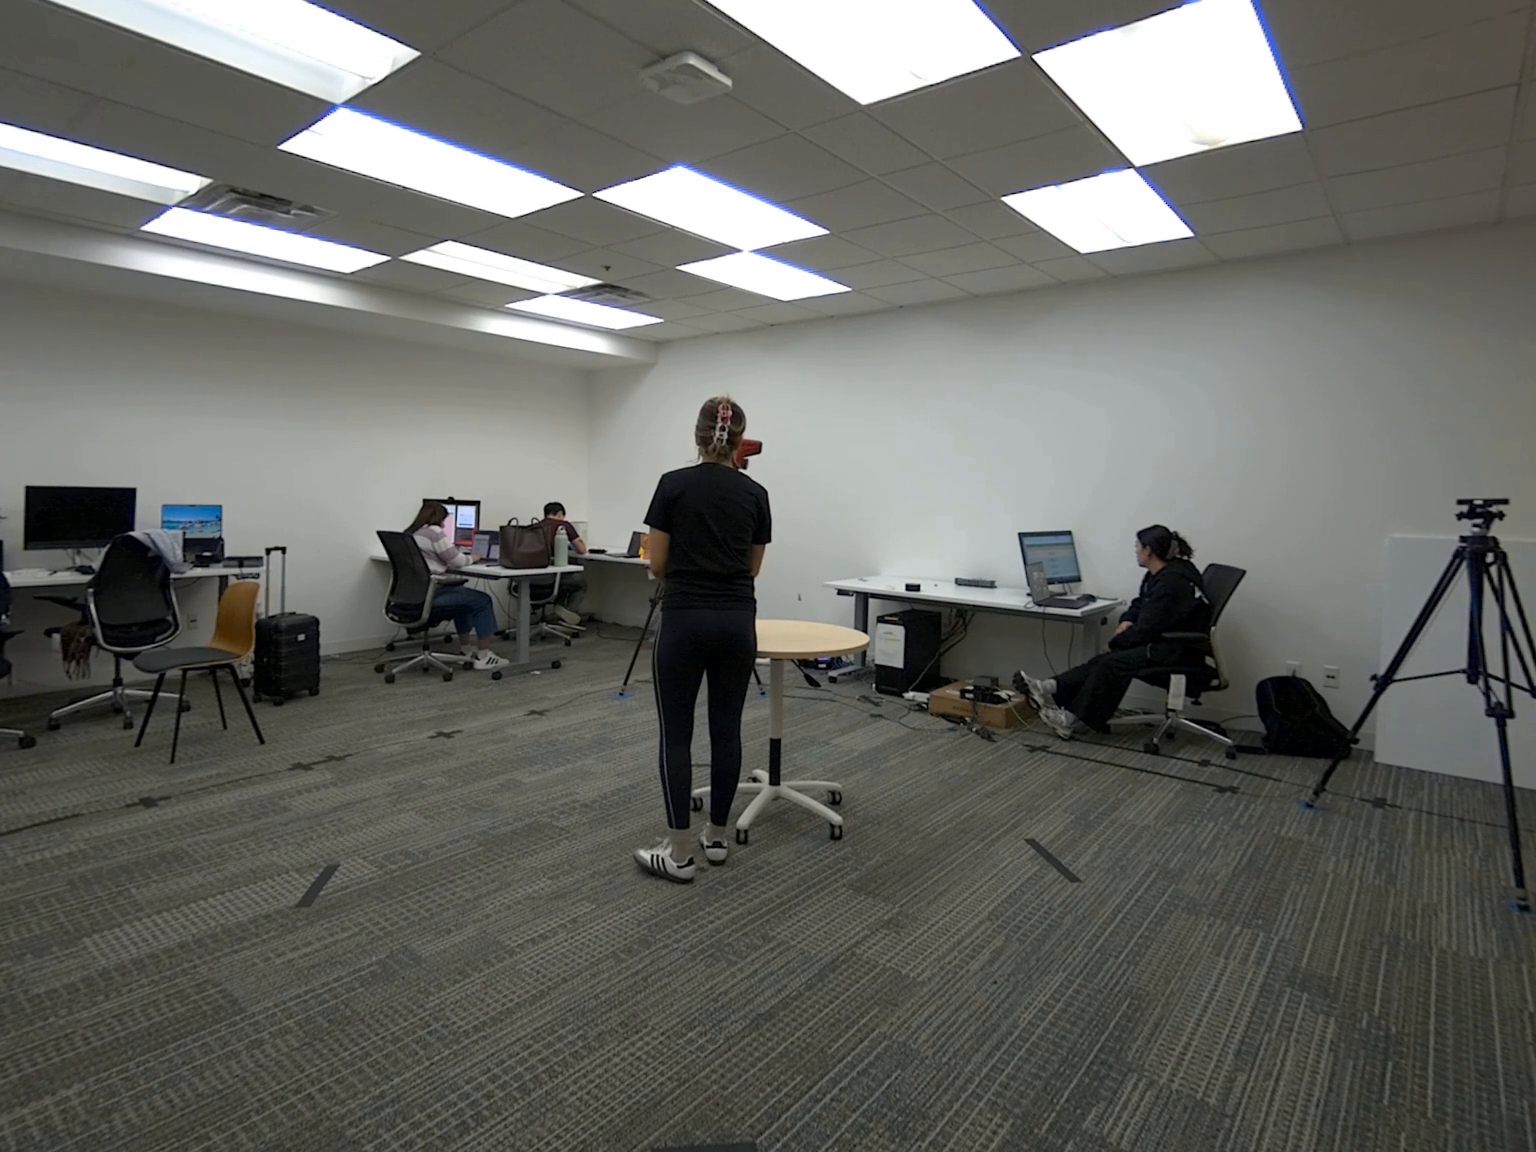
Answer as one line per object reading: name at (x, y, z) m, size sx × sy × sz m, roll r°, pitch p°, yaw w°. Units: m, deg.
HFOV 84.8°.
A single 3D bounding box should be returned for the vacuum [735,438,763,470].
vacuum at (-0.261, -0.088, 3.512) m, size 0.256 × 1.066 × 0.139 m, roll 7°, pitch -26°, yaw 12°
